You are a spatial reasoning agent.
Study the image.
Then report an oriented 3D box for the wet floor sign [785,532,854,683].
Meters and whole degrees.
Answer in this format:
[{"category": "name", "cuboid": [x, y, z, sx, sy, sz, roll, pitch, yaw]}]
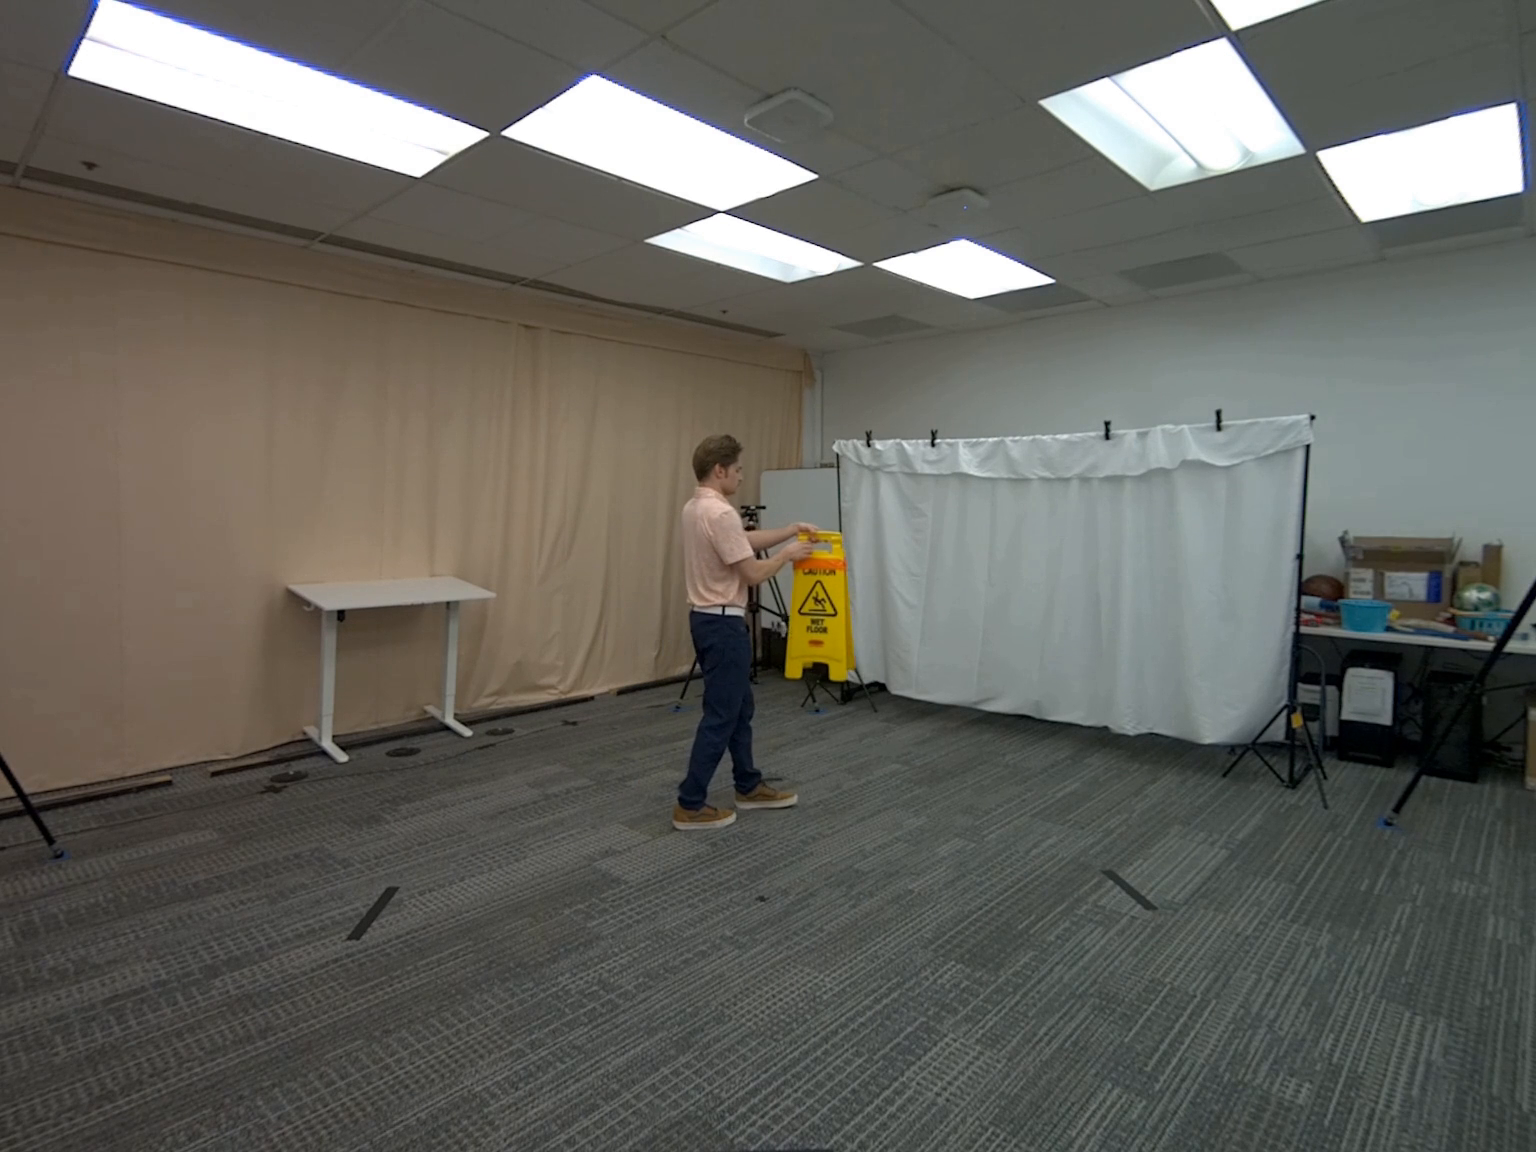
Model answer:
[{"category": "wet floor sign", "cuboid": [0.237, 0.125, 3.842, 0.287, 0.644, 0.286, 1, 6, 14]}]
